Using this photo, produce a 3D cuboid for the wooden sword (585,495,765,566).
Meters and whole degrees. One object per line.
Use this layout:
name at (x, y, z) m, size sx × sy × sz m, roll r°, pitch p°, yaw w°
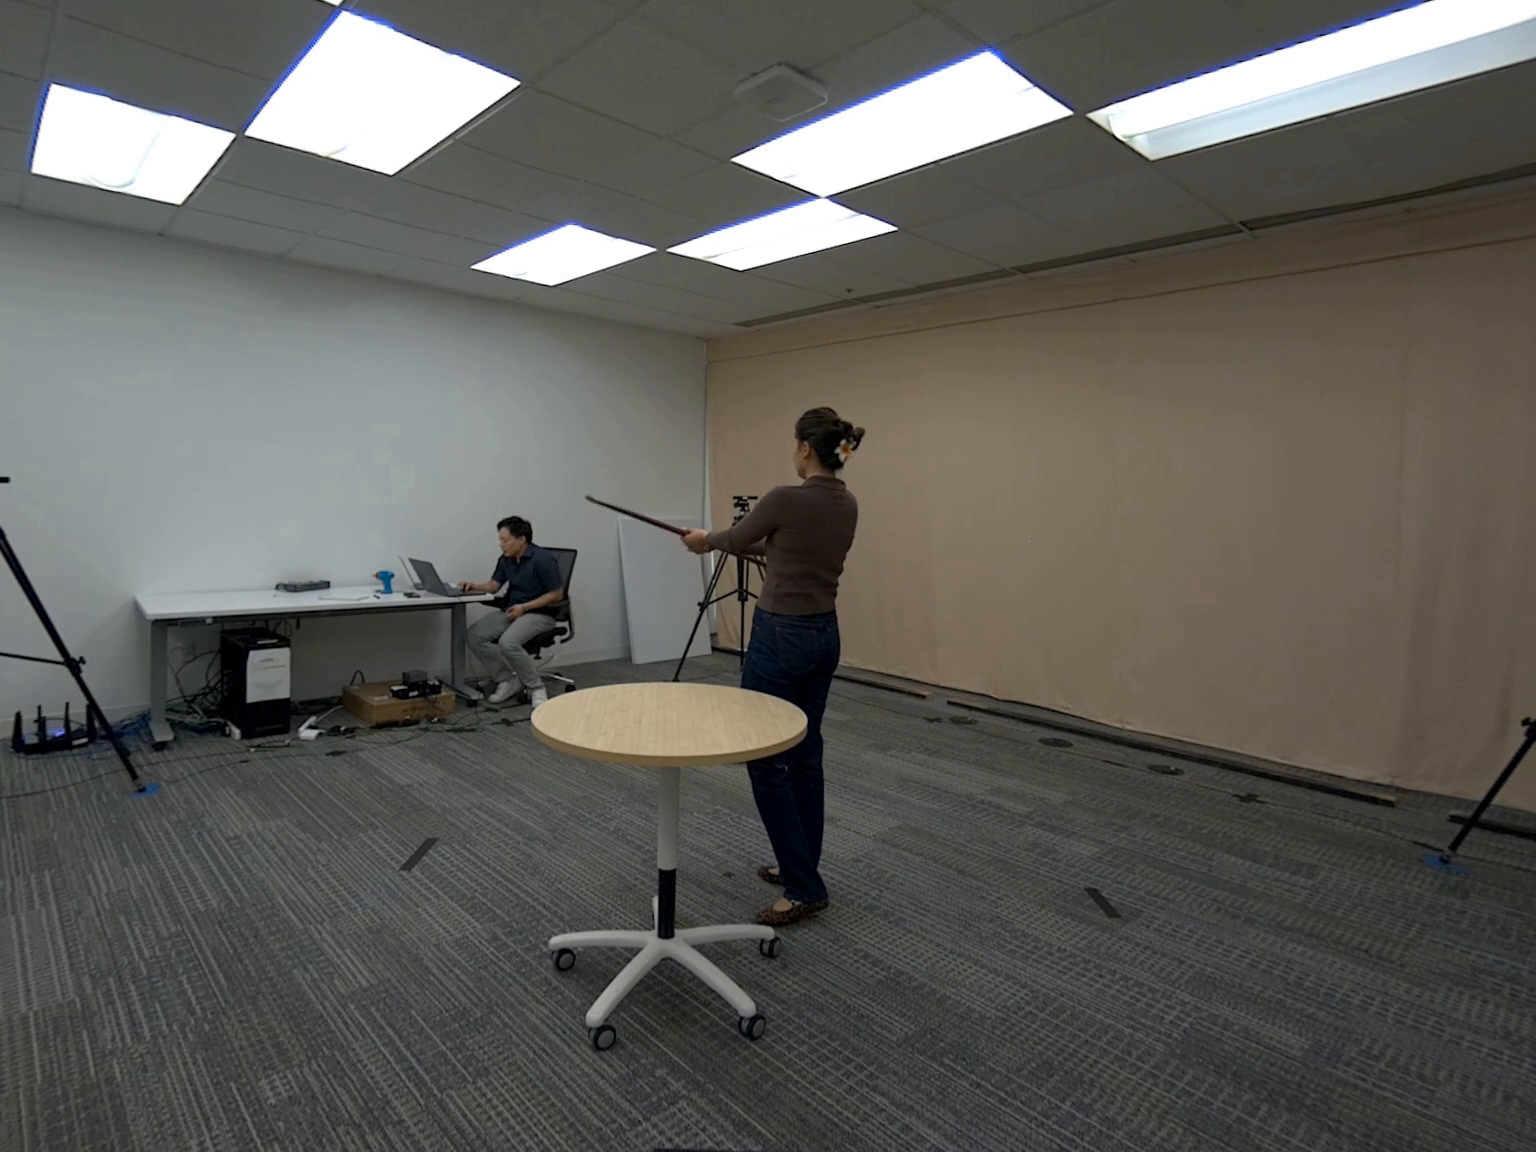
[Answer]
wooden sword at (-0.292, -0.153, 3.336) m, size 0.994 × 0.051 × 0.025 m, roll 21°, pitch -6°, yaw -43°
